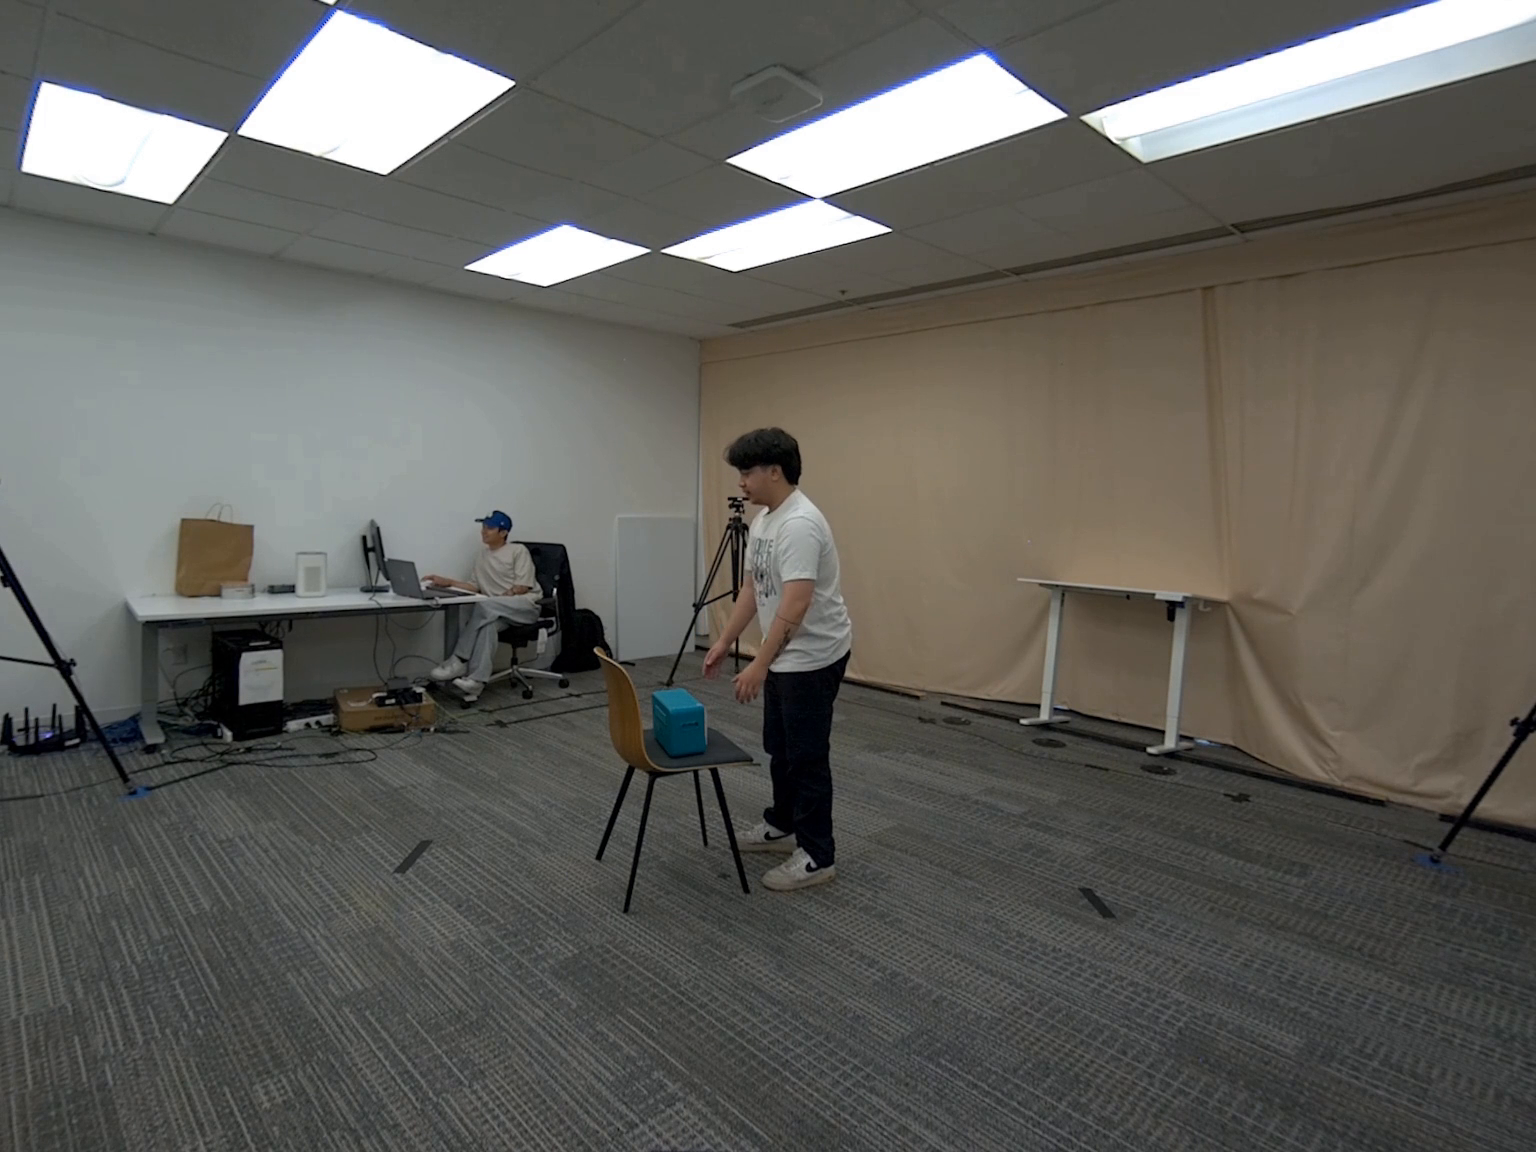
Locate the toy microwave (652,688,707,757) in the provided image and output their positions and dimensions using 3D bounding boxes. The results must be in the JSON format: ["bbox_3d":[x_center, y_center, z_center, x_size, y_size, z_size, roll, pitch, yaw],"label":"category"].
[{"bbox_3d":[-0.322,0.530,3.073,0.150,0.183,0.291,-4,6,-20],"label":"toy microwave"}]
